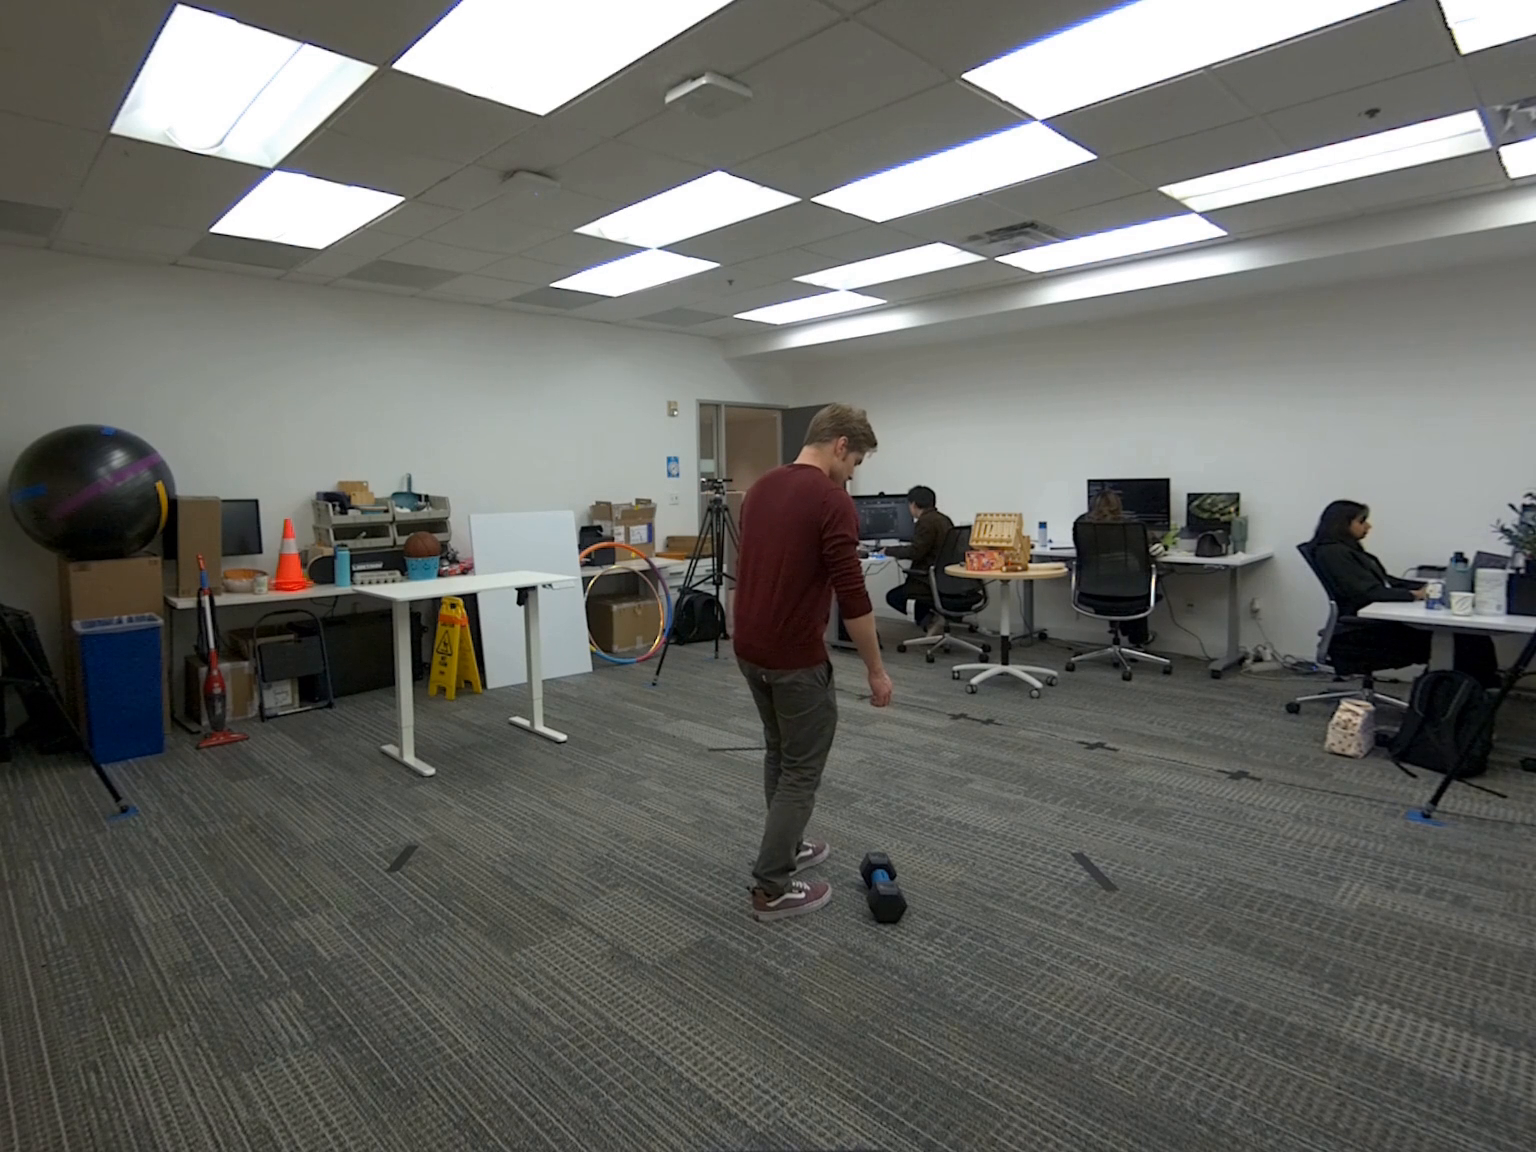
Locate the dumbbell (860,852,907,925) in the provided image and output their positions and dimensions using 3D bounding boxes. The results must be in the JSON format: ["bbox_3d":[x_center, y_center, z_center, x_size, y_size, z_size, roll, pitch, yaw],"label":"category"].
[{"bbox_3d":[0.378,1.017,2.804,0.109,0.122,0.294,-30,5,3],"label":"dumbbell"}]
